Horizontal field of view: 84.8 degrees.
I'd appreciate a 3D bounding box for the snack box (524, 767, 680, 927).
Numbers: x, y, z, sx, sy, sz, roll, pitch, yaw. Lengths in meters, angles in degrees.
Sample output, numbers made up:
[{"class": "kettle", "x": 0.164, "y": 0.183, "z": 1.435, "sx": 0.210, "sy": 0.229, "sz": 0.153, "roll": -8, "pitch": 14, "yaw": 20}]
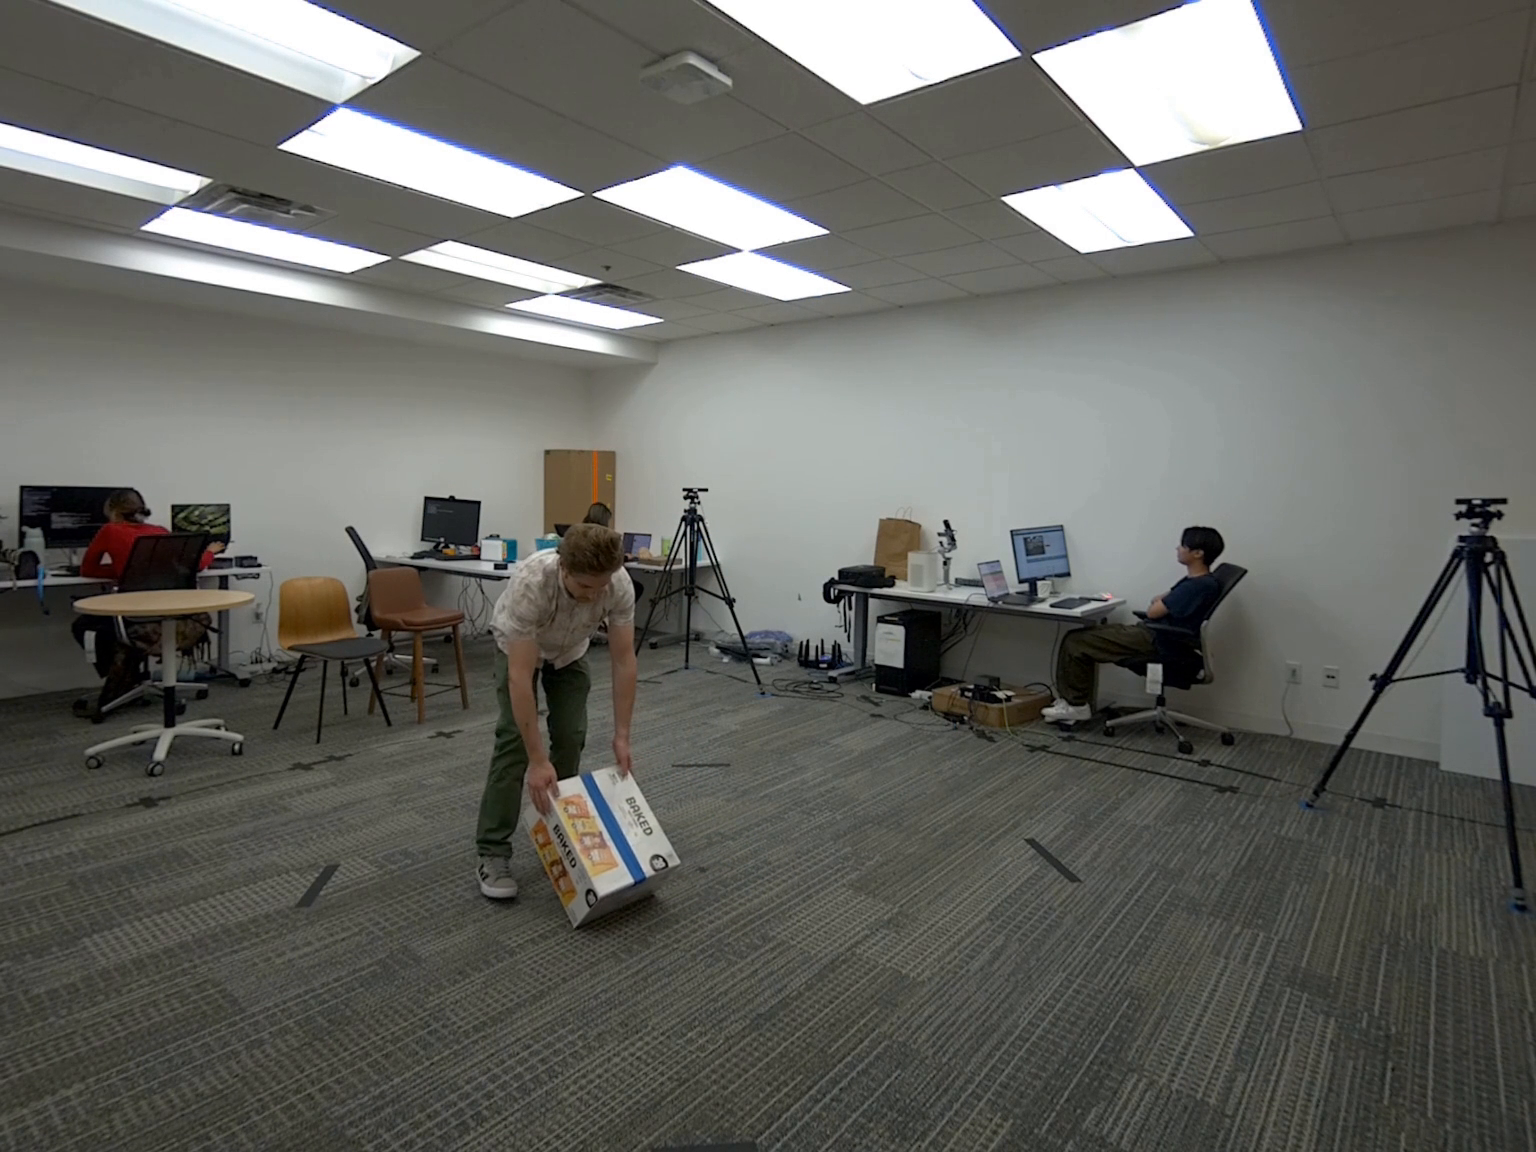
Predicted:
[{"class": "snack box", "x": -0.570, "y": 0.881, "z": 2.836, "sx": 0.330, "sy": 0.205, "sz": 0.419, "roll": -5, "pitch": 49, "yaw": -47}]
